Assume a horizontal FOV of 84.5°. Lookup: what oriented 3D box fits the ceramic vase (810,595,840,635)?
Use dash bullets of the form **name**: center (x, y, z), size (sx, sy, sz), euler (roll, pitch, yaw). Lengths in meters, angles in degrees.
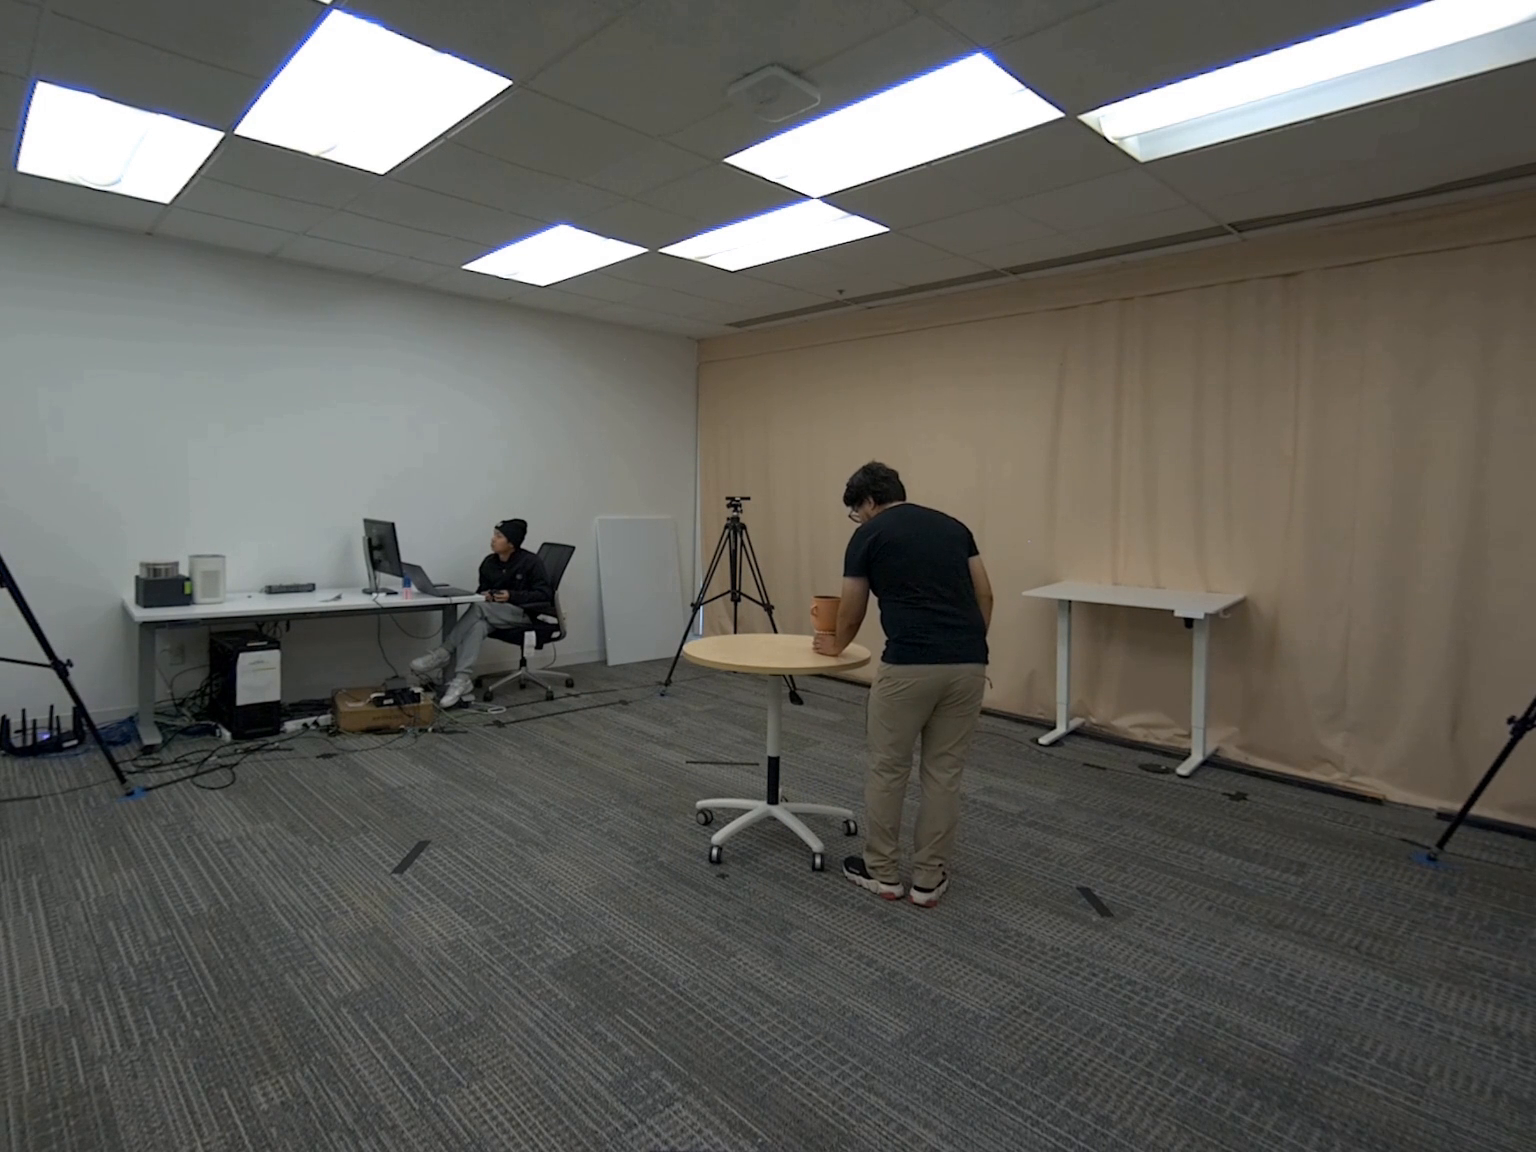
- **ceramic vase**: center (0.231, 0.197, 3.399), size (0.158, 0.219, 0.135), euler (2, 3, -5)
